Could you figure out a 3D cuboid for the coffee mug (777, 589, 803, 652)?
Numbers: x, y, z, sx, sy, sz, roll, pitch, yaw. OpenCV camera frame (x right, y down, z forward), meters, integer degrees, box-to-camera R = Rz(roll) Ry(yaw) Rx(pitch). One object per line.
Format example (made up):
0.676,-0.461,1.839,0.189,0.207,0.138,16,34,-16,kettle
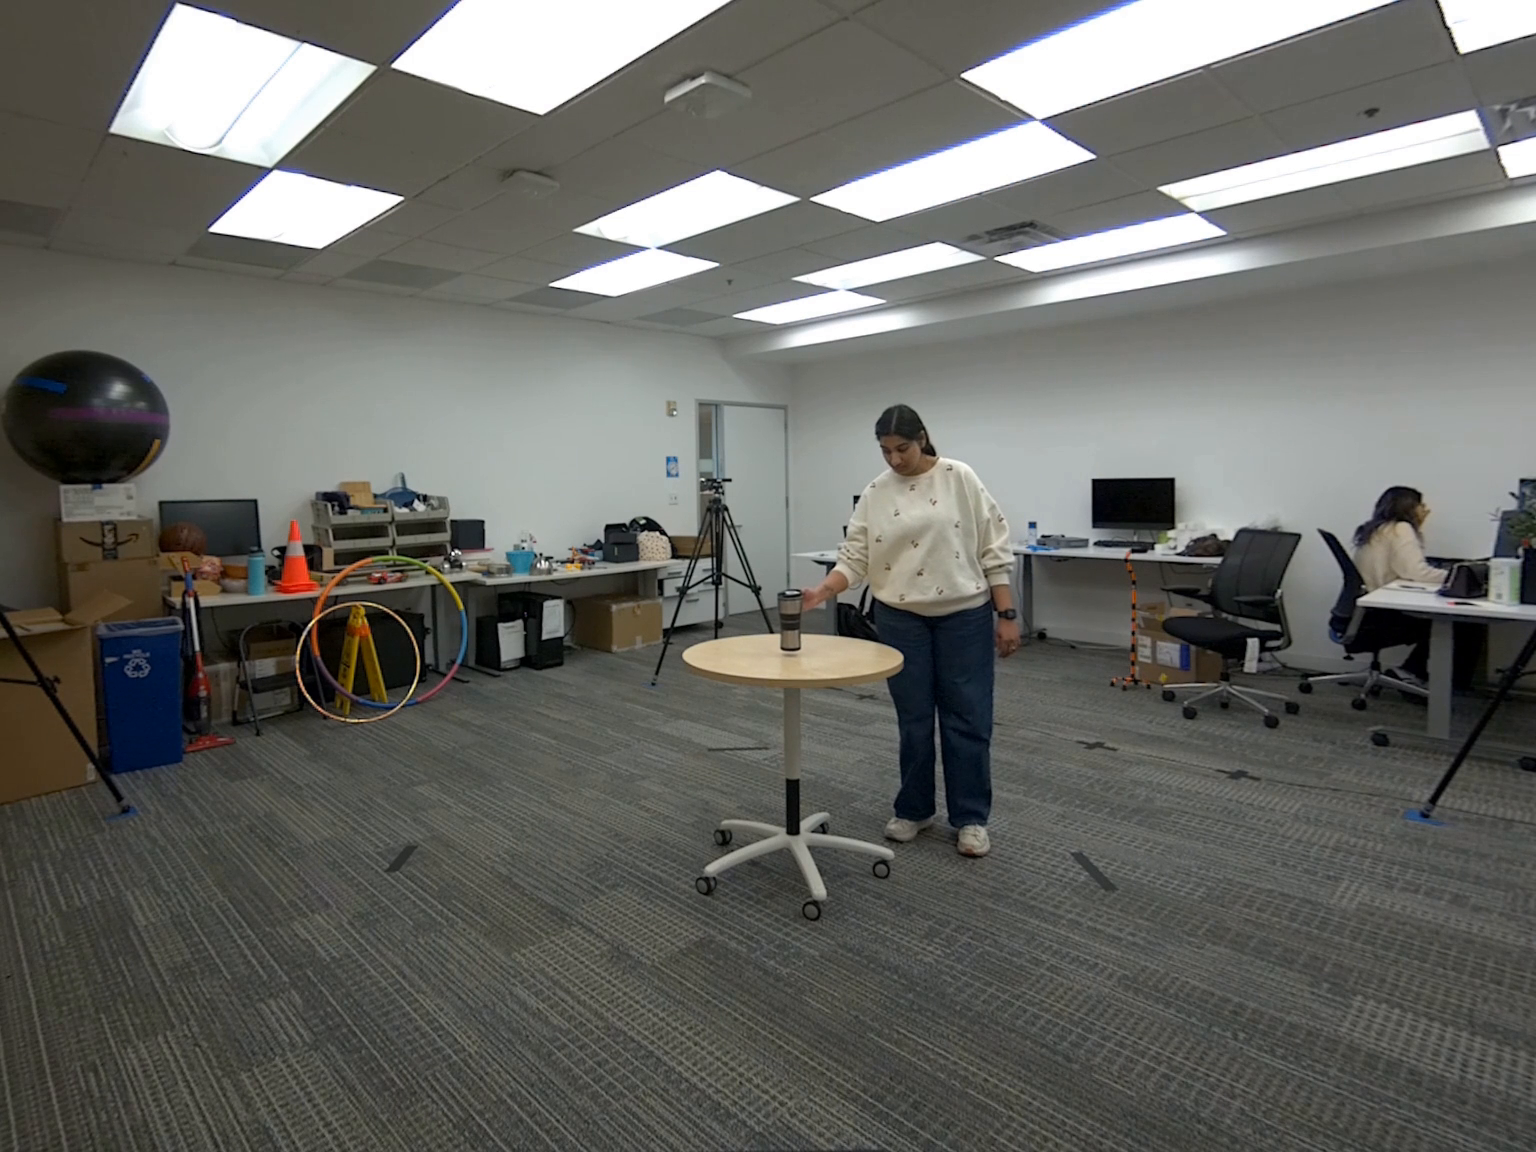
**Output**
0.102,0.153,2.965,0.119,0.201,0.090,-11,10,-39,coffee mug
